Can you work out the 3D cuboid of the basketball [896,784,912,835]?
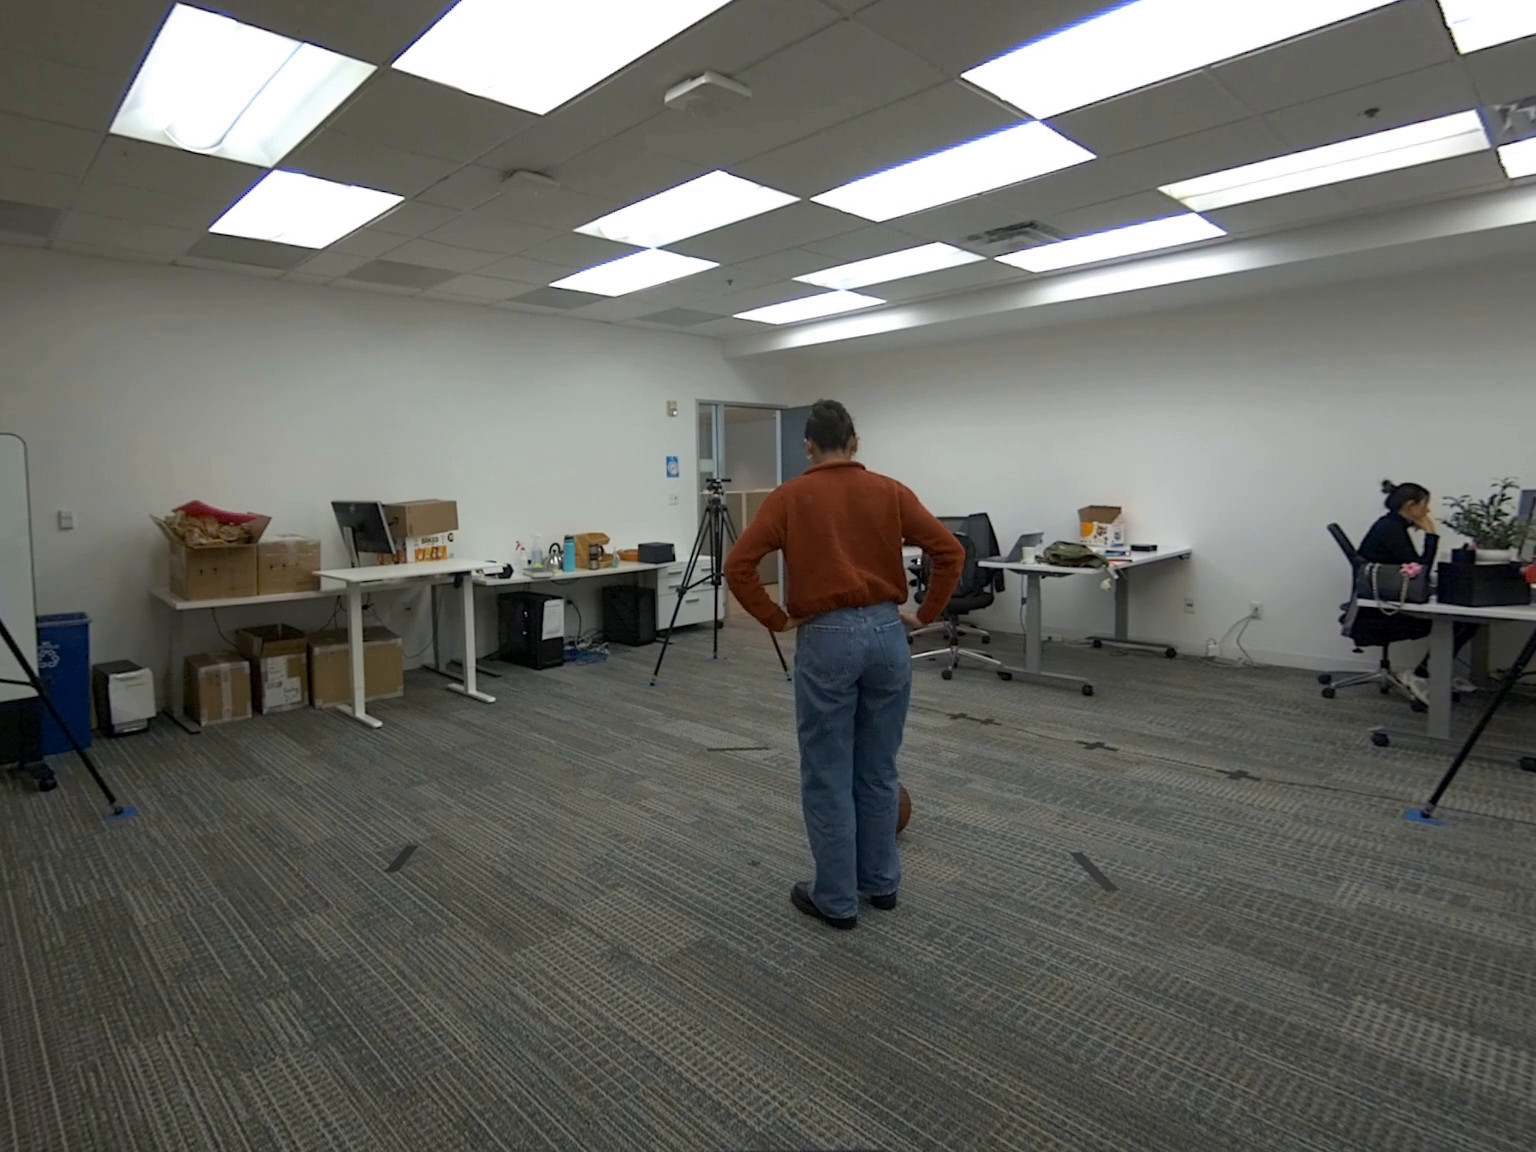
[{"bbox_3d":[0.445,0.894,3.325,0.236,0.235,0.237,-1,5,-2],"label":"basketball"}]
